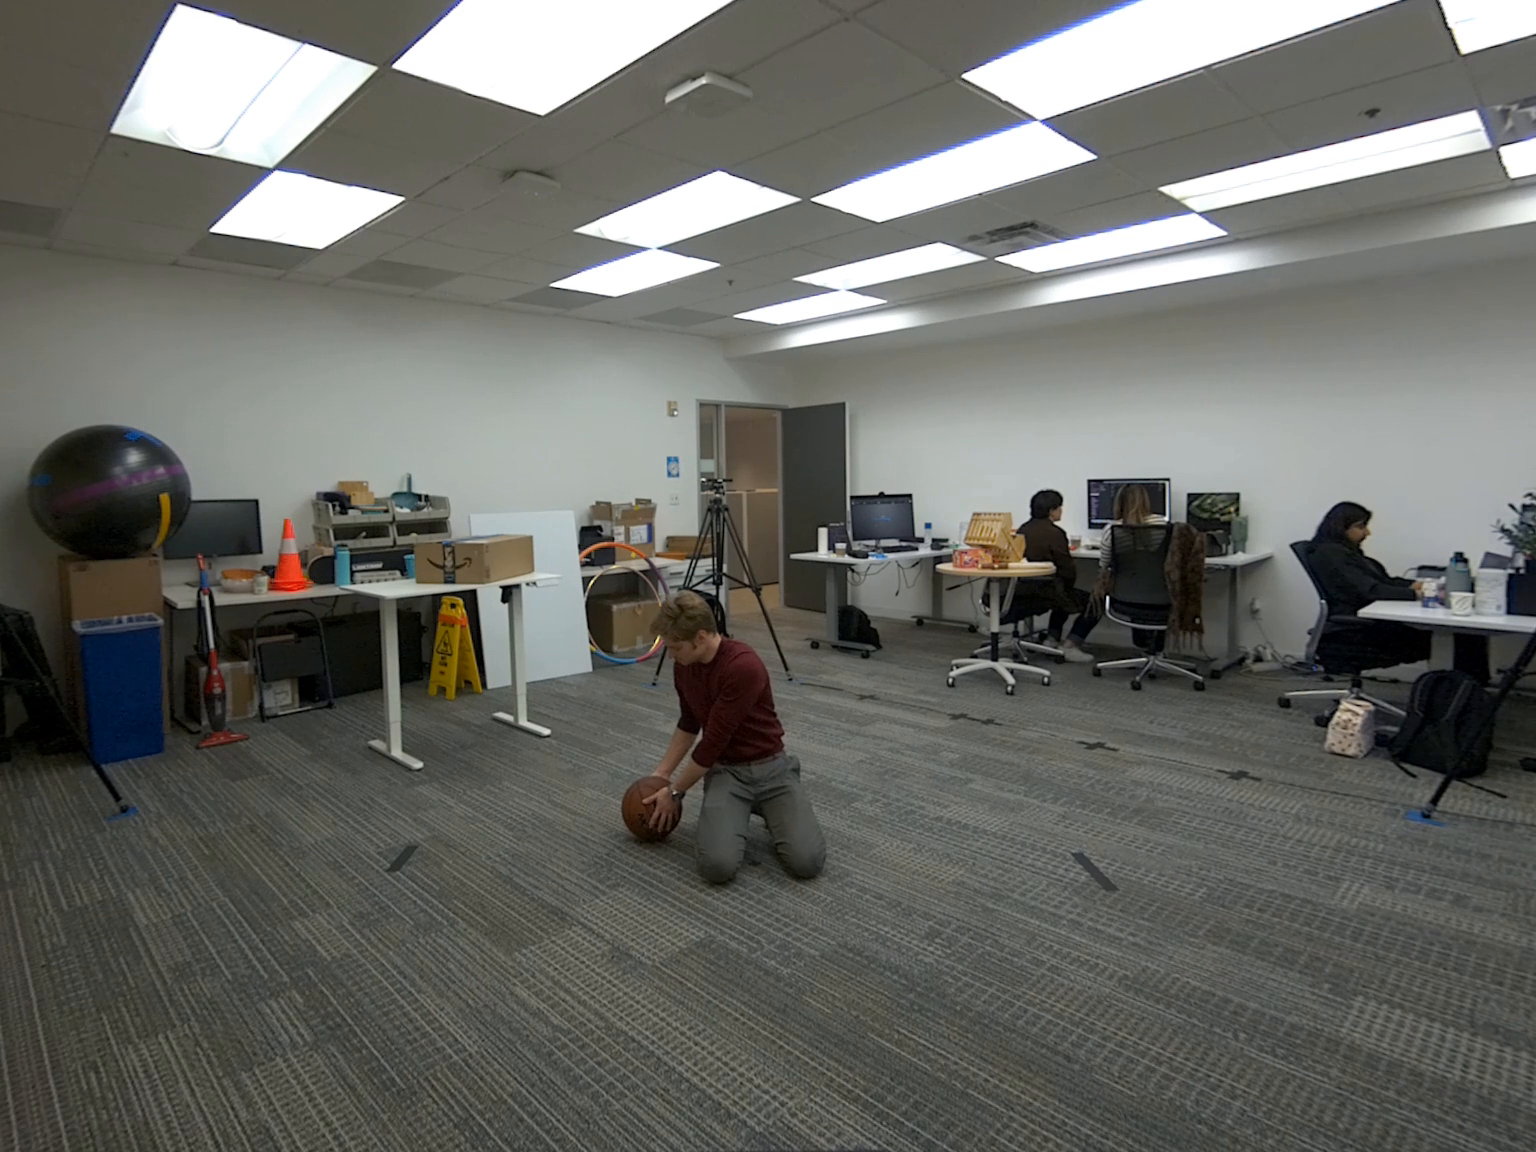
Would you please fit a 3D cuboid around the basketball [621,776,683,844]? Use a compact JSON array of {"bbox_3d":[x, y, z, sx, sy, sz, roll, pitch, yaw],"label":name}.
[{"bbox_3d":[-0.450,0.903,3.330,0.236,0.235,0.237,-1,5,-2],"label":"basketball"}]
